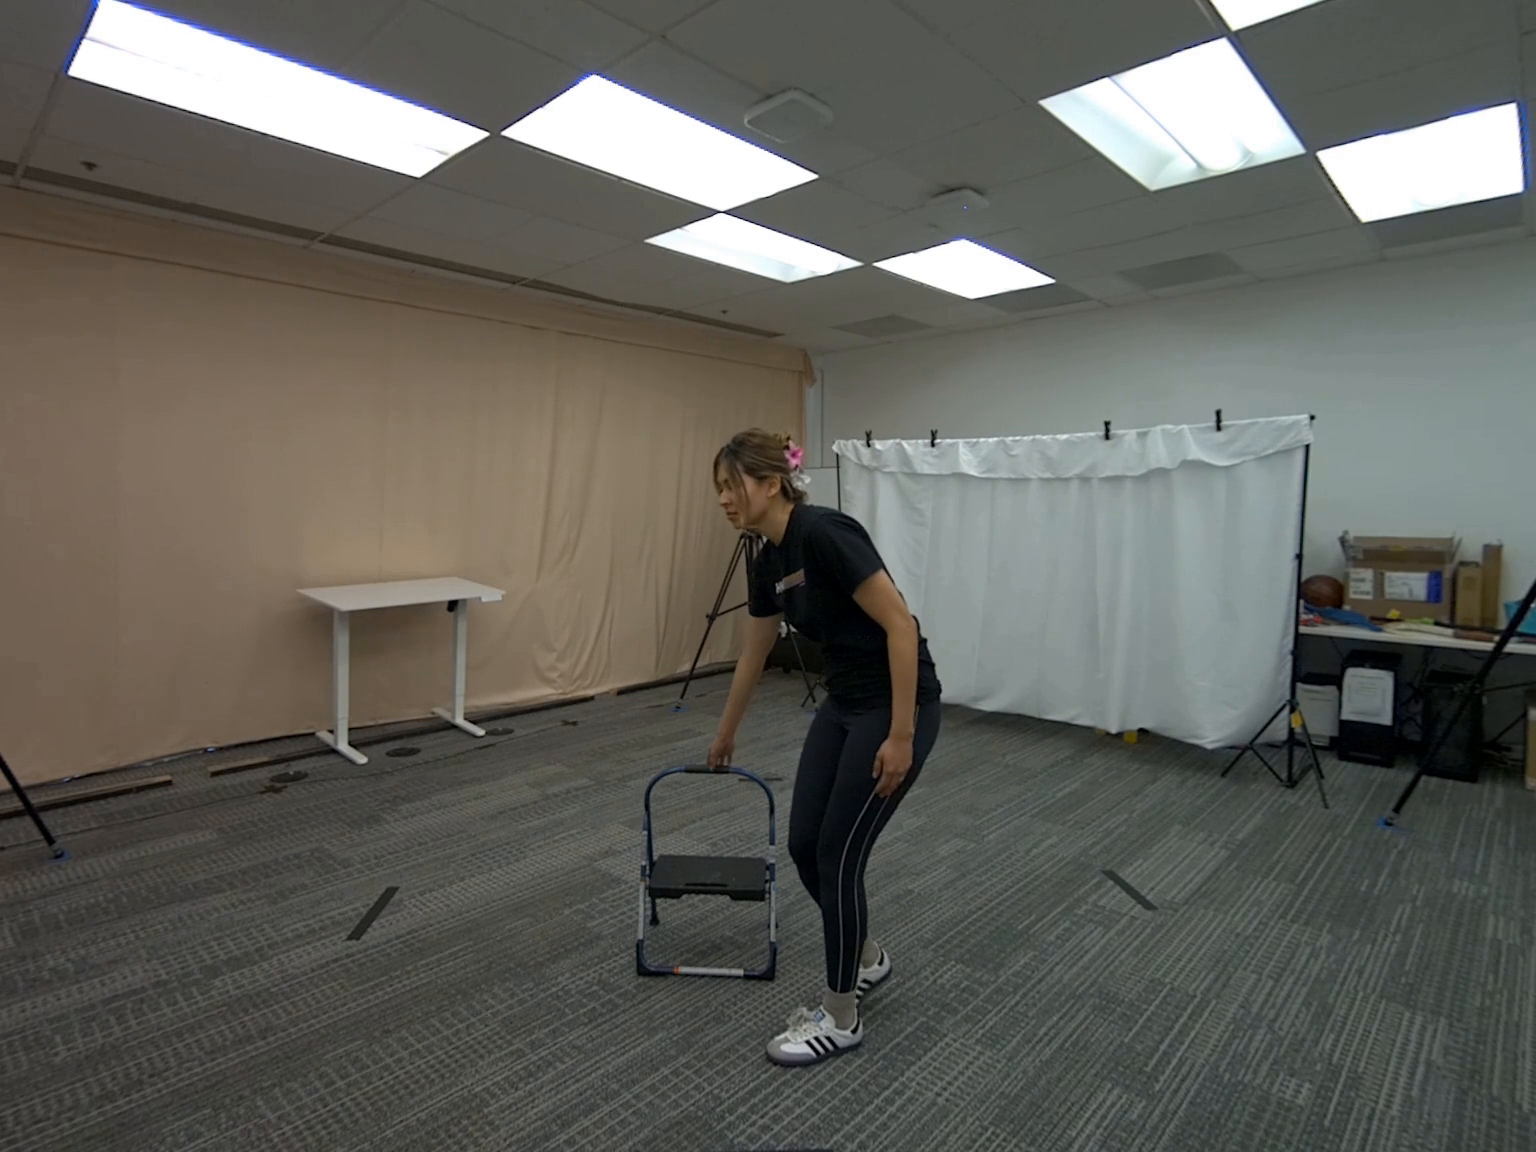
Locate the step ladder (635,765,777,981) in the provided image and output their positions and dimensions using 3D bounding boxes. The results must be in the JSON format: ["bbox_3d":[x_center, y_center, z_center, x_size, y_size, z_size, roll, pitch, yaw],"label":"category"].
[{"bbox_3d":[-0.182,0.873,2.634,0.432,0.605,0.349,0,2,2],"label":"step ladder"}]
